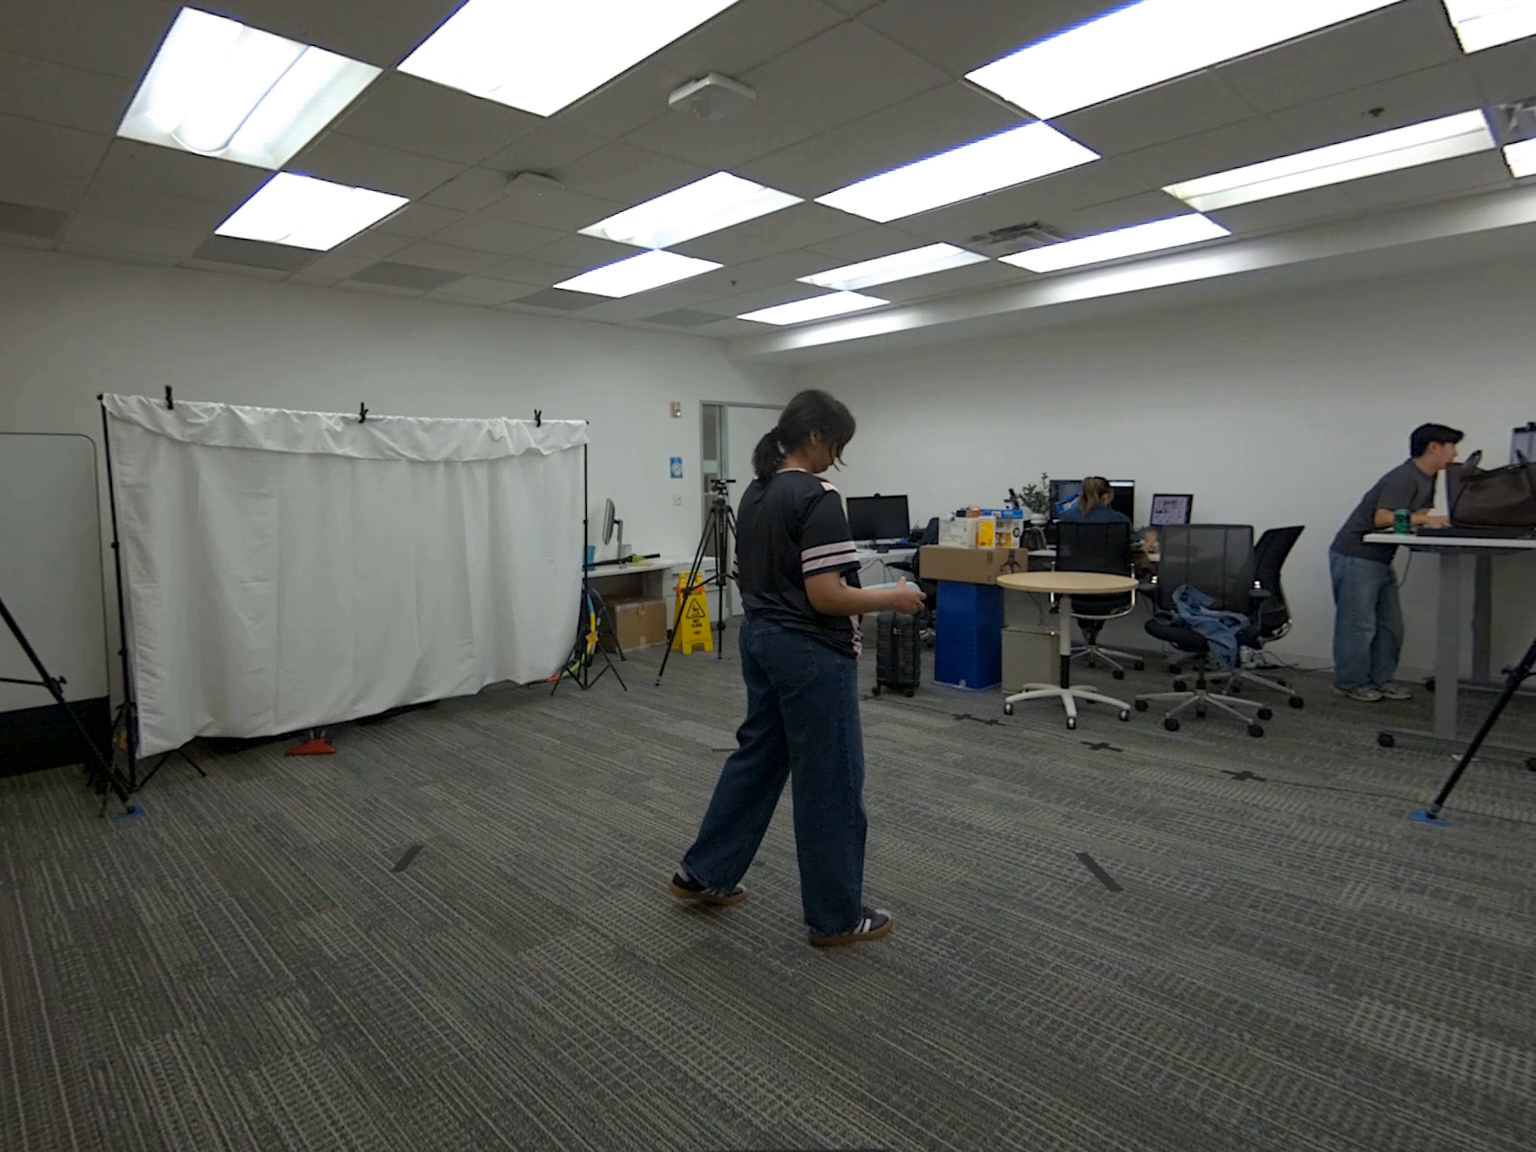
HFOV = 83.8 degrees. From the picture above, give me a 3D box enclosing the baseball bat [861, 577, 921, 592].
[{"bbox_3d":[0.293,0.088,2.812,0.087,0.089,0.554,-4,-3,-32],"label":"baseball bat"}]
